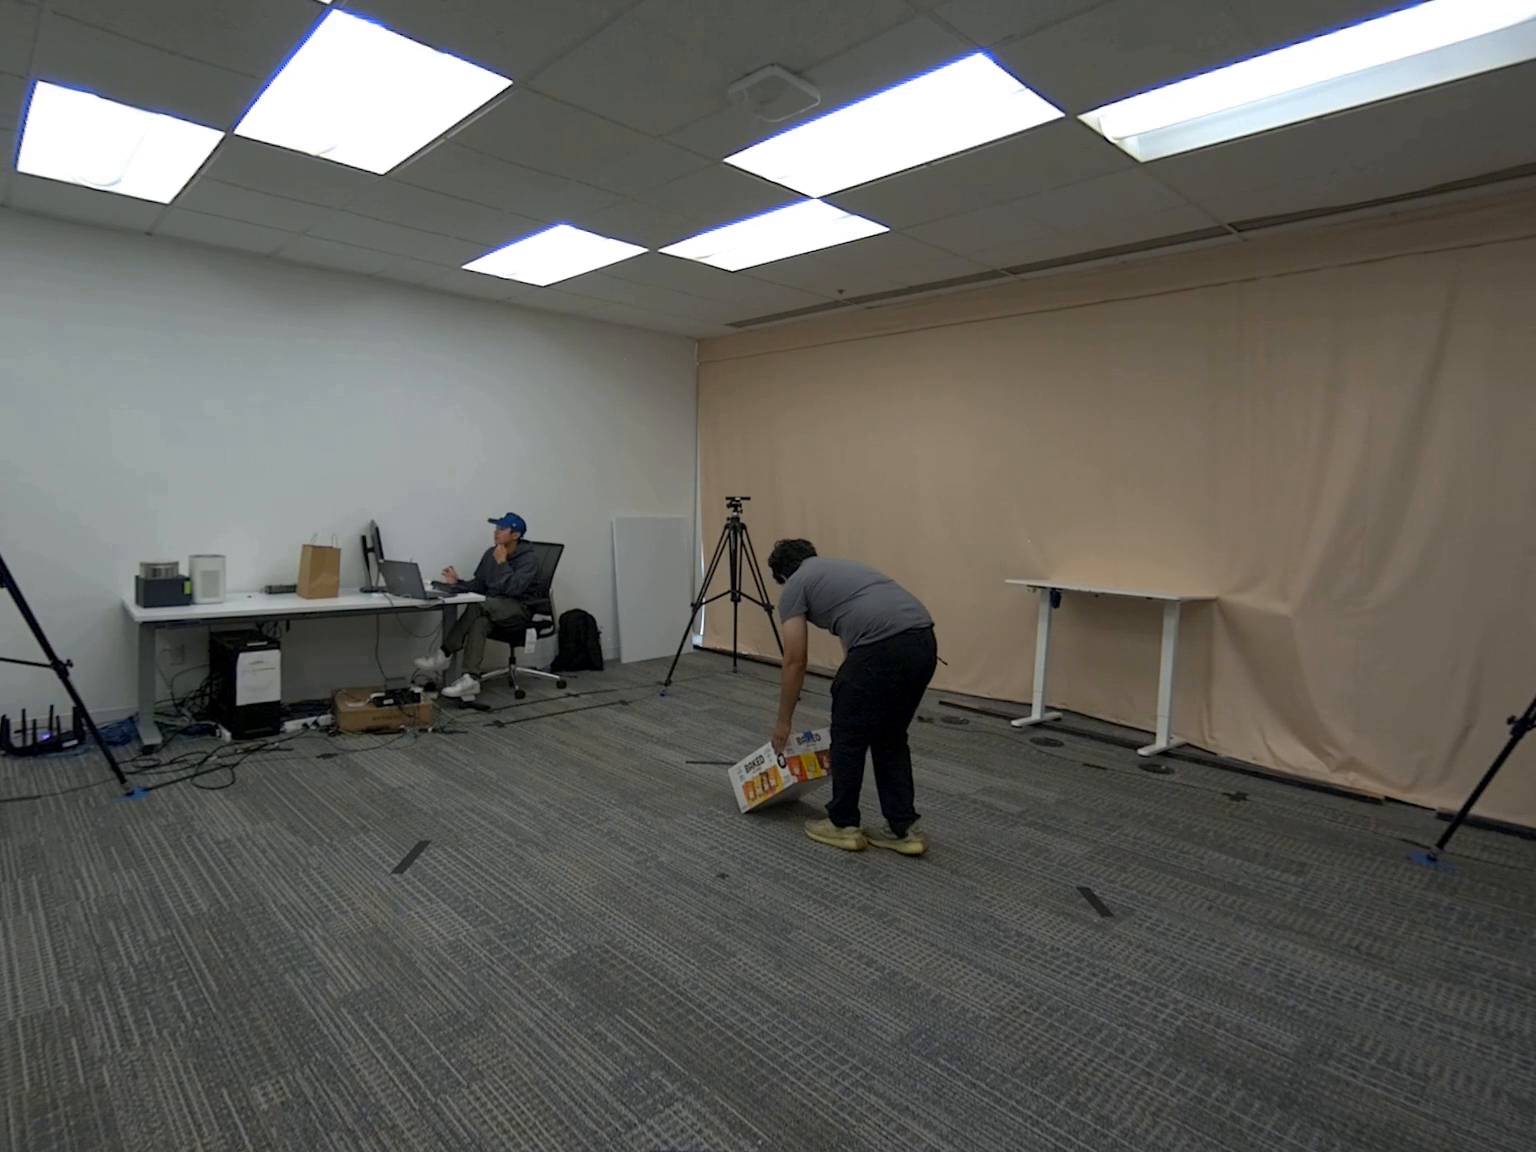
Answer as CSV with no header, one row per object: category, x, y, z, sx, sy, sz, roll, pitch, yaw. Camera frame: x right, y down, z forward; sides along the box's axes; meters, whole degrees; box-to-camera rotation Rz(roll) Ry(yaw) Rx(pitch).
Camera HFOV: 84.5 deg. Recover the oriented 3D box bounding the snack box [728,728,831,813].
snack box,0.085,0.863,3.745,0.332,0.210,0.406,-1,-30,-39
